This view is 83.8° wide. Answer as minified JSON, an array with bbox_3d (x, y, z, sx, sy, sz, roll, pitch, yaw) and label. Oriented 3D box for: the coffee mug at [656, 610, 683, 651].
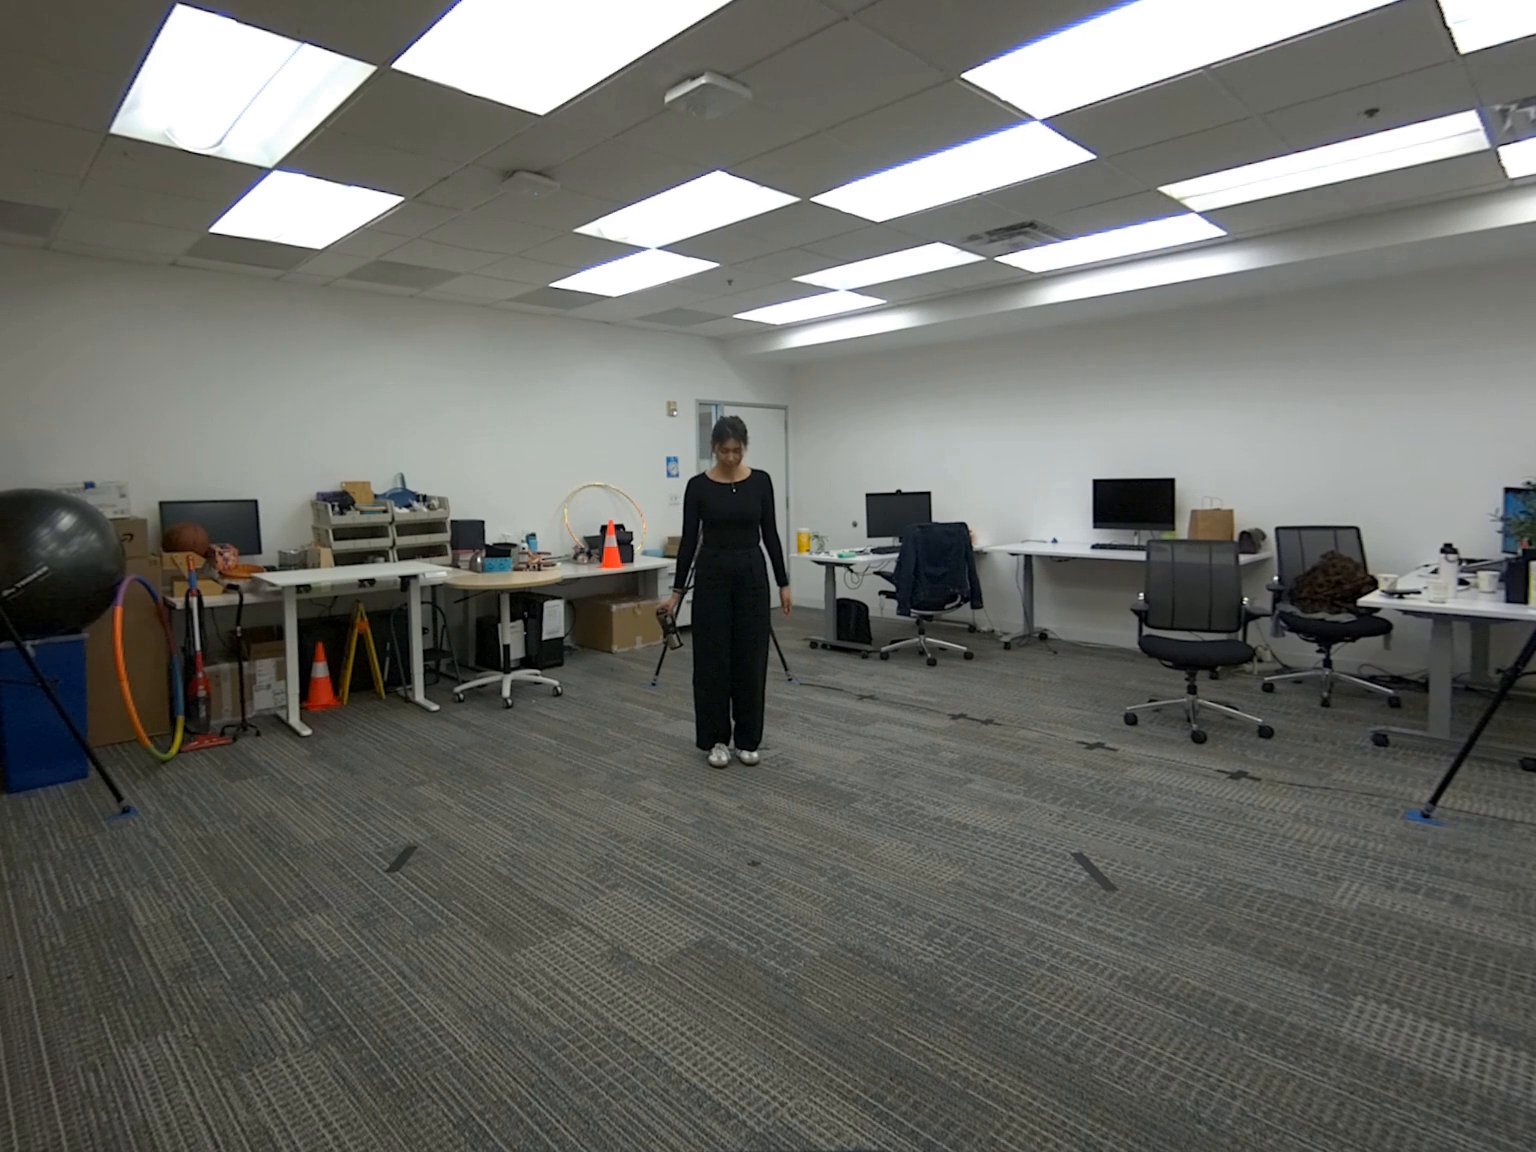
[{"bbox_3d":[-0.513,0.277,4.257,0.089,0.205,0.119,-24,-12,29],"label":"coffee mug"}]
